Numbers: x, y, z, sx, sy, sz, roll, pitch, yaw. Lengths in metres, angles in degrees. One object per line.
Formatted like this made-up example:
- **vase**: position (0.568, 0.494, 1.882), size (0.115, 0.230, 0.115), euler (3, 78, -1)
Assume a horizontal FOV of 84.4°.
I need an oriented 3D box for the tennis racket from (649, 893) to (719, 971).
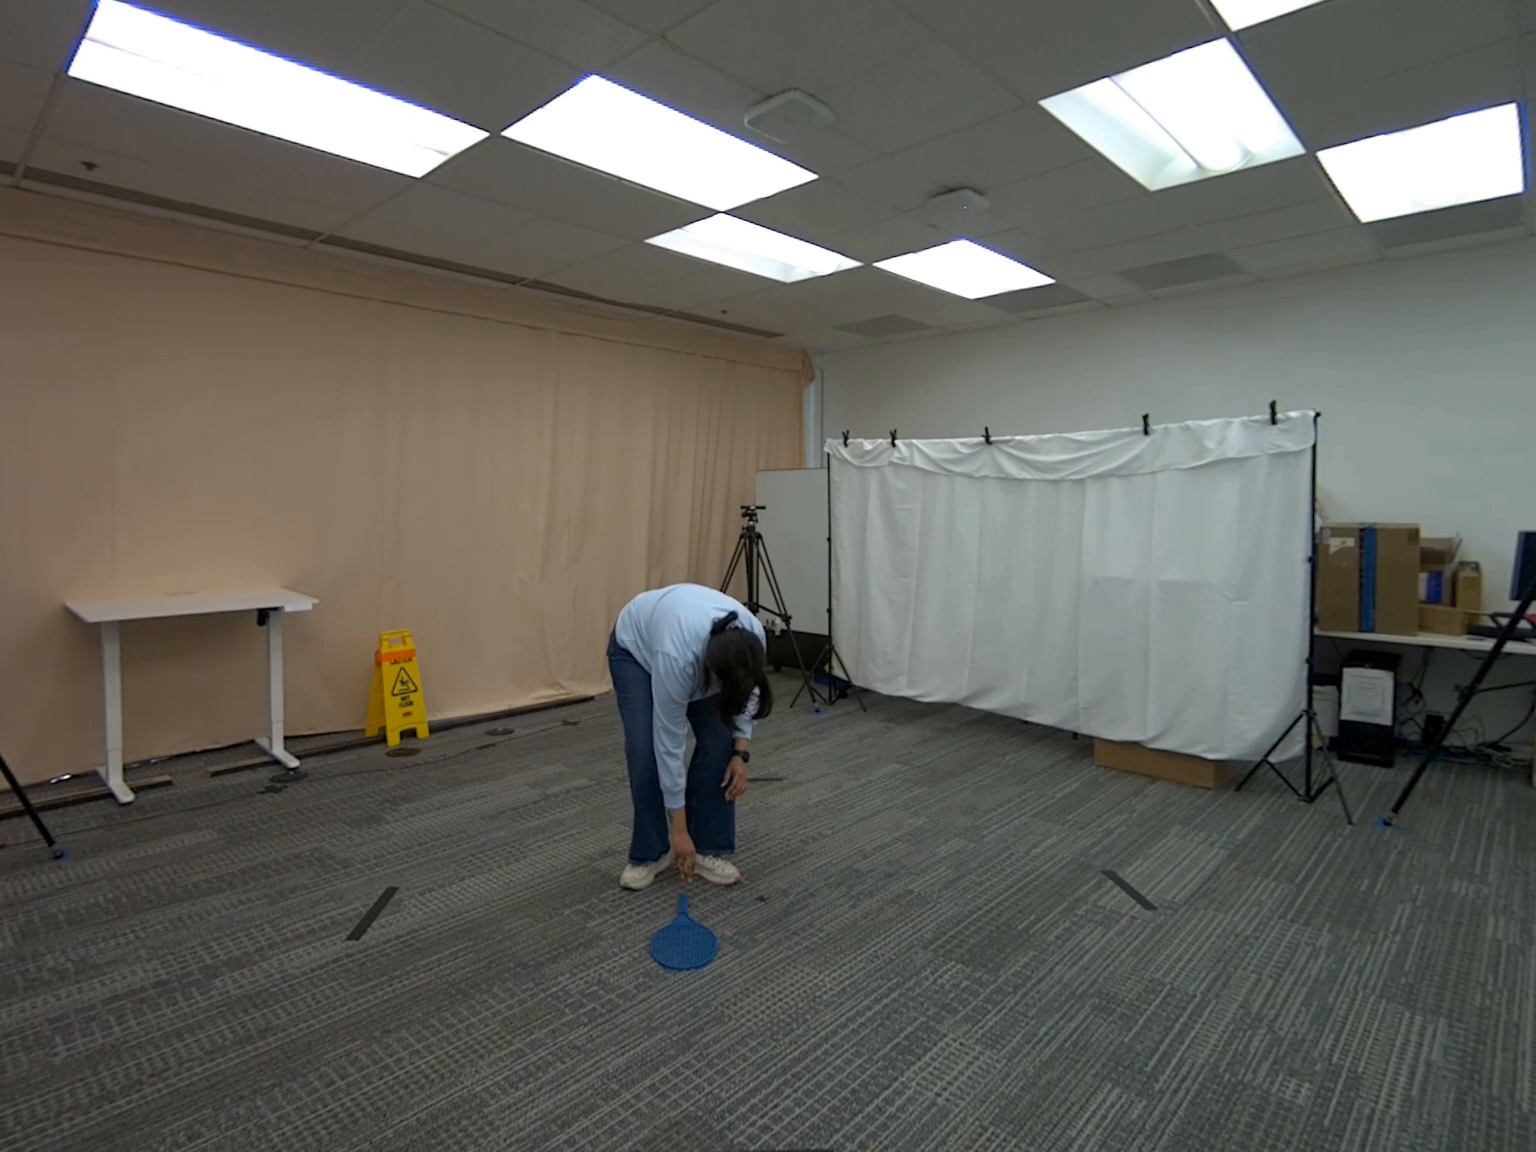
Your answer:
- **tennis racket**: position (-0.270, 1.148, 2.737), size (0.213, 0.031, 0.436), euler (0, 6, -4)
